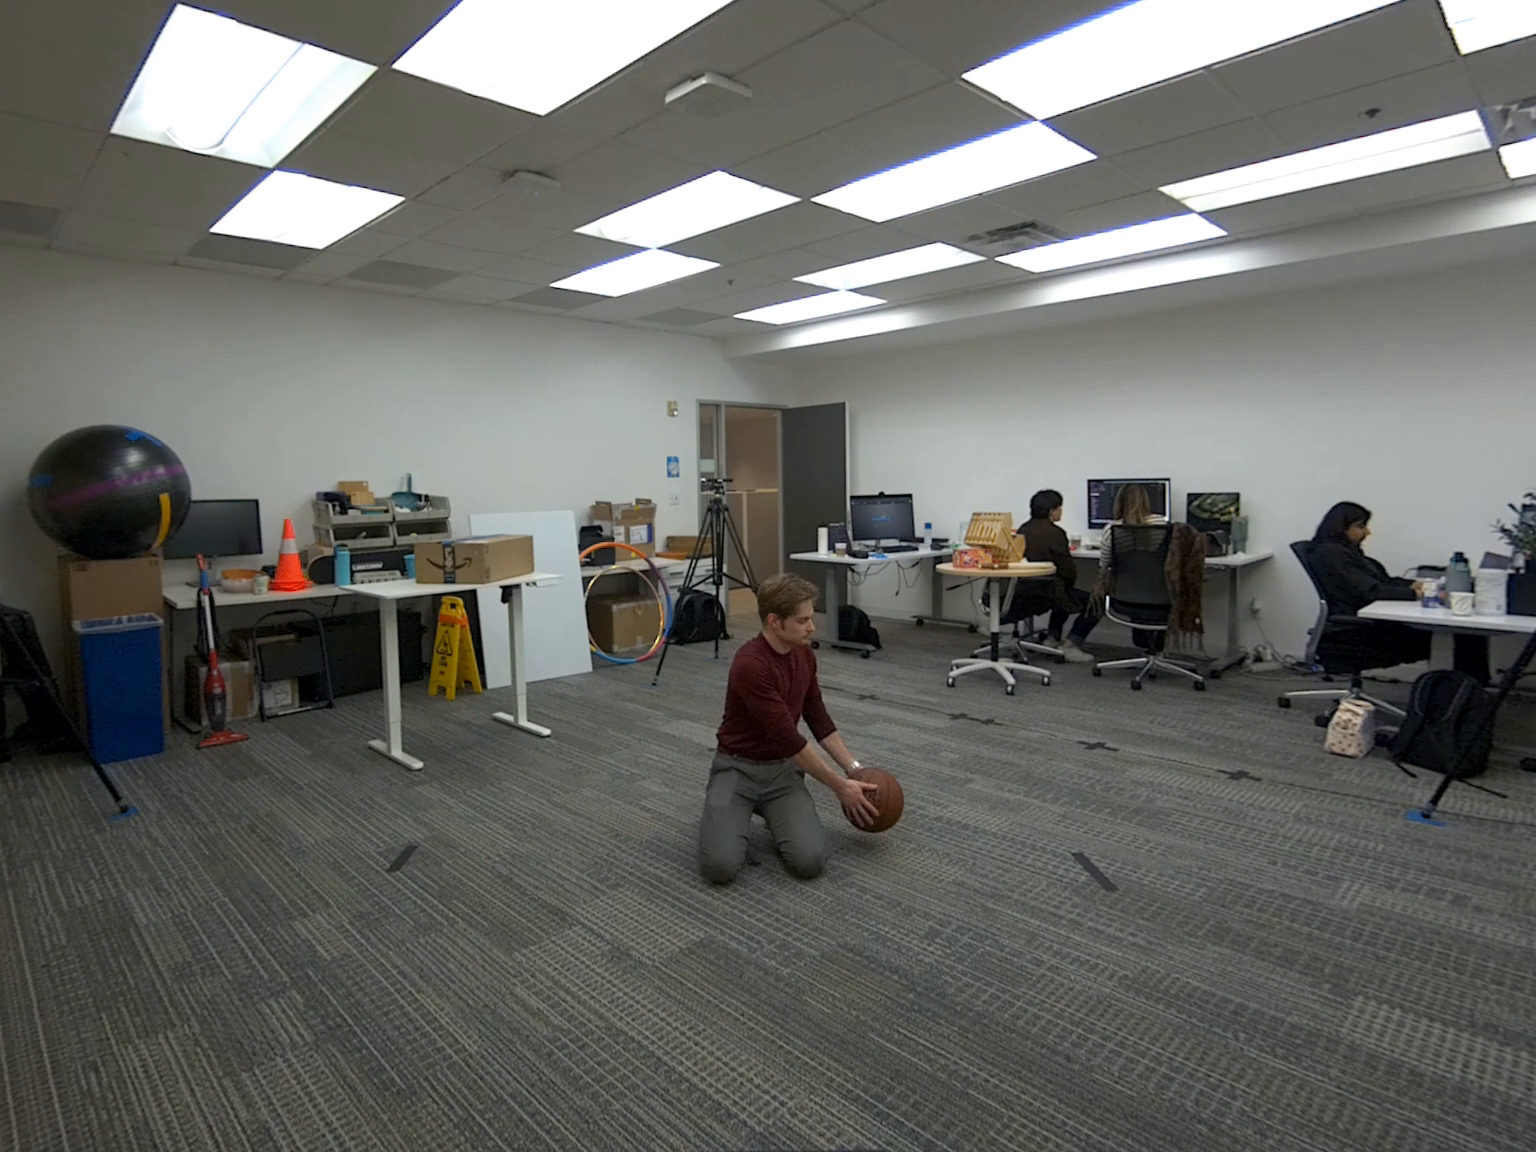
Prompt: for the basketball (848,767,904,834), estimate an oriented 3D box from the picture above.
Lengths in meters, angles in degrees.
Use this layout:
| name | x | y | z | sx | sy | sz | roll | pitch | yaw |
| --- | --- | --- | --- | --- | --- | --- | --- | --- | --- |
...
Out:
| name | x | y | z | sx | sy | sz | roll | pitch | yaw |
| --- | --- | --- | --- | --- | --- | --- | --- | --- | --- |
| basketball | 0.391 | 0.828 | 3.224 | 0.236 | 0.235 | 0.237 | -1 | 5 | -2 |
